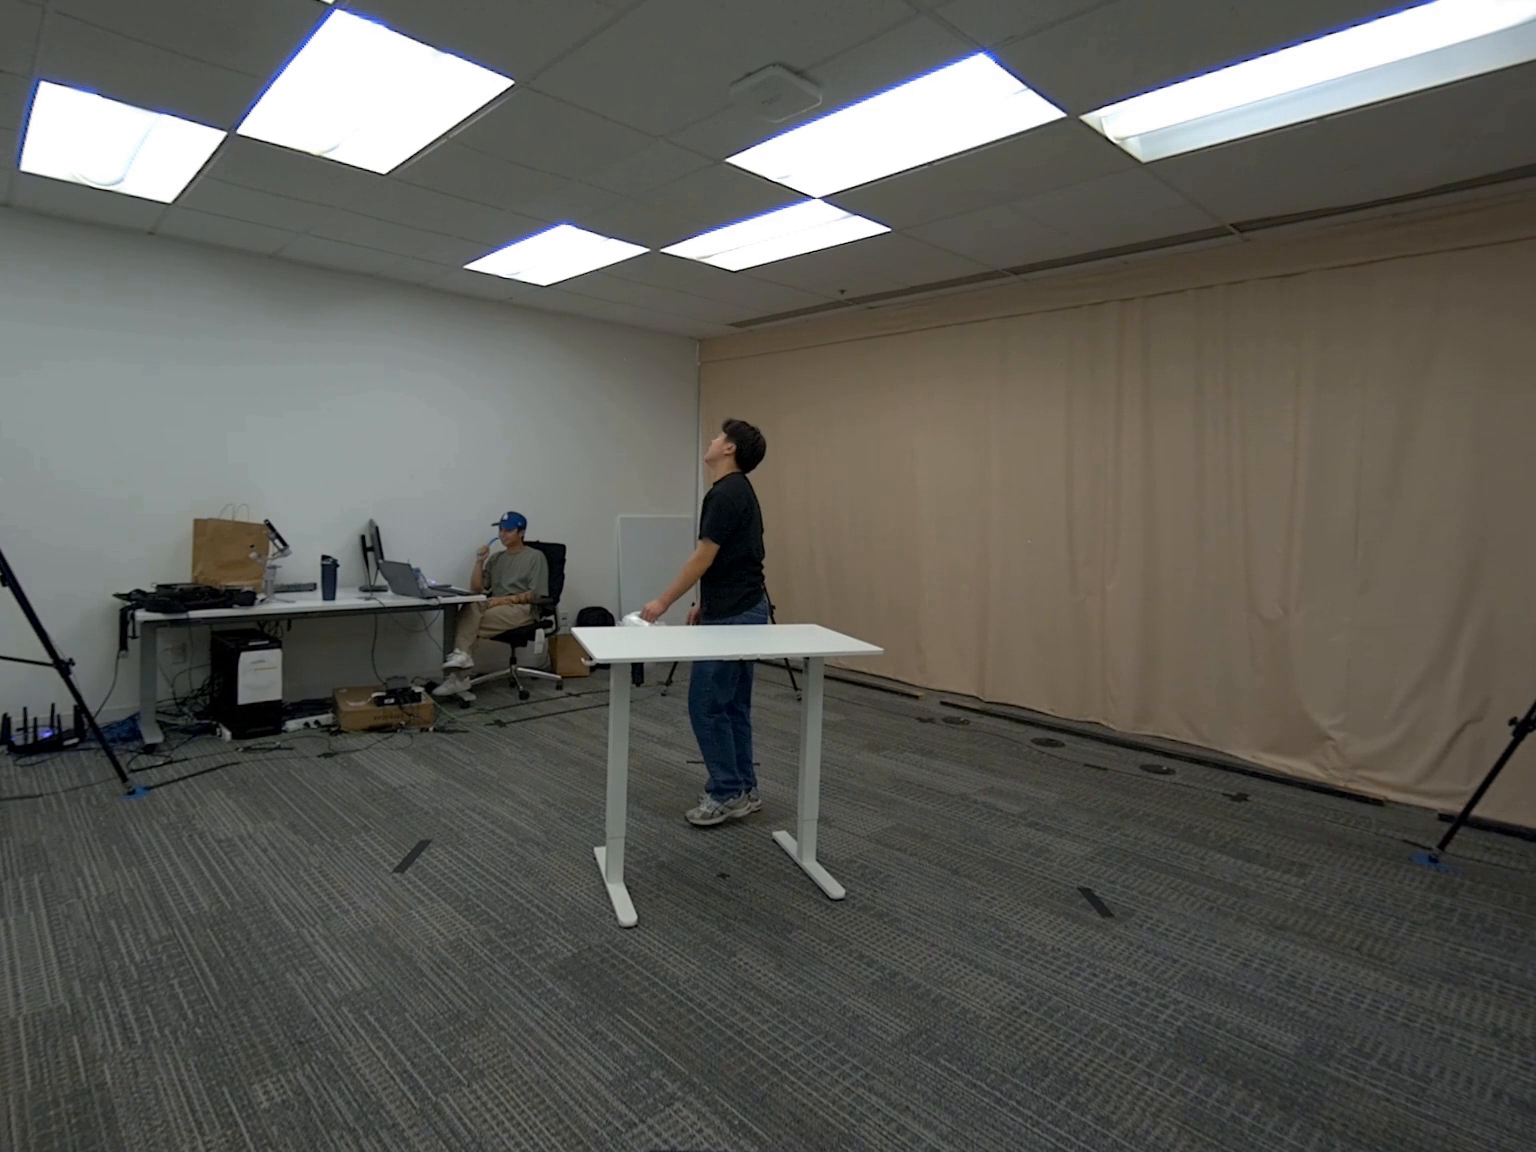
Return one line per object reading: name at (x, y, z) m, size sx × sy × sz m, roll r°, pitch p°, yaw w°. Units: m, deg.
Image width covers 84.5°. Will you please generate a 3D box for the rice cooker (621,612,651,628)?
rice cooker at (-0.554, 0.286, 3.623) m, size 0.223 × 0.233 × 0.215 m, roll 24°, pitch 1°, yaw 11°
